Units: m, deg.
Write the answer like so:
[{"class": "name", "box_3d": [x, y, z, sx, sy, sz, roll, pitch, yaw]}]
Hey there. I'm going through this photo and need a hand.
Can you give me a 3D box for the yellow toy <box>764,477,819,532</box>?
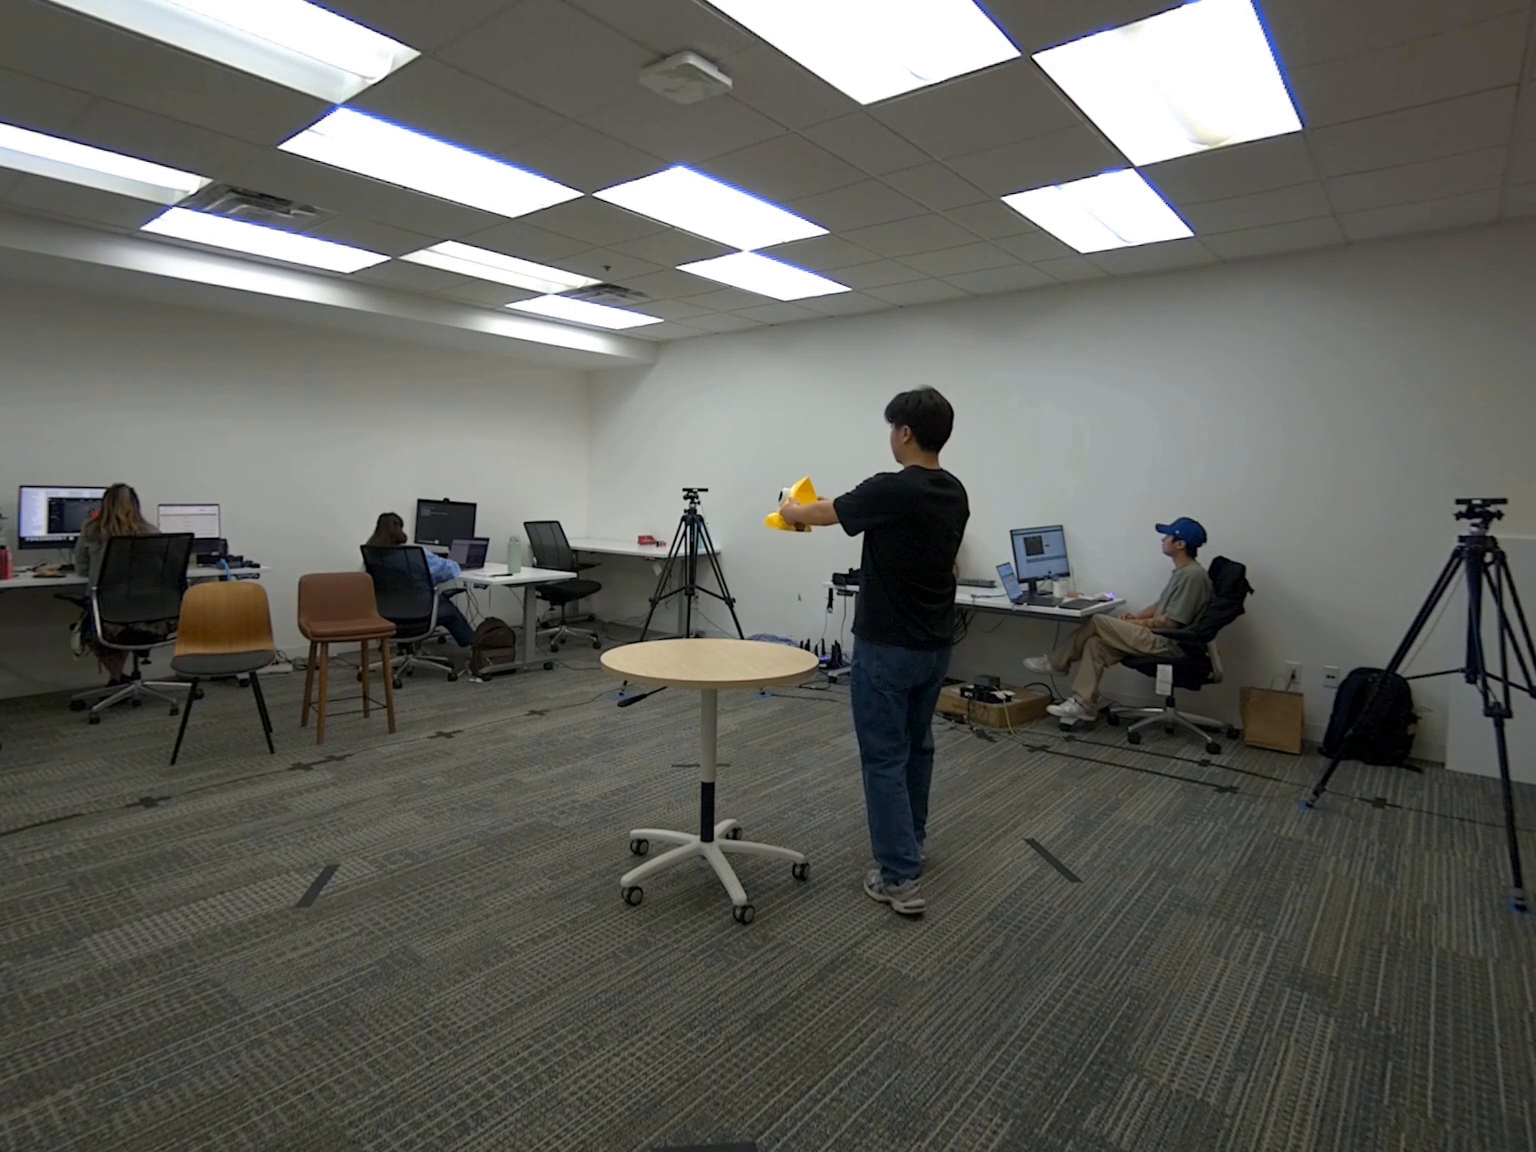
[{"class": "yellow toy", "box_3d": [0.102, -0.313, 3.538, 0.198, 0.229, 0.200, 1, 11, -40]}]
